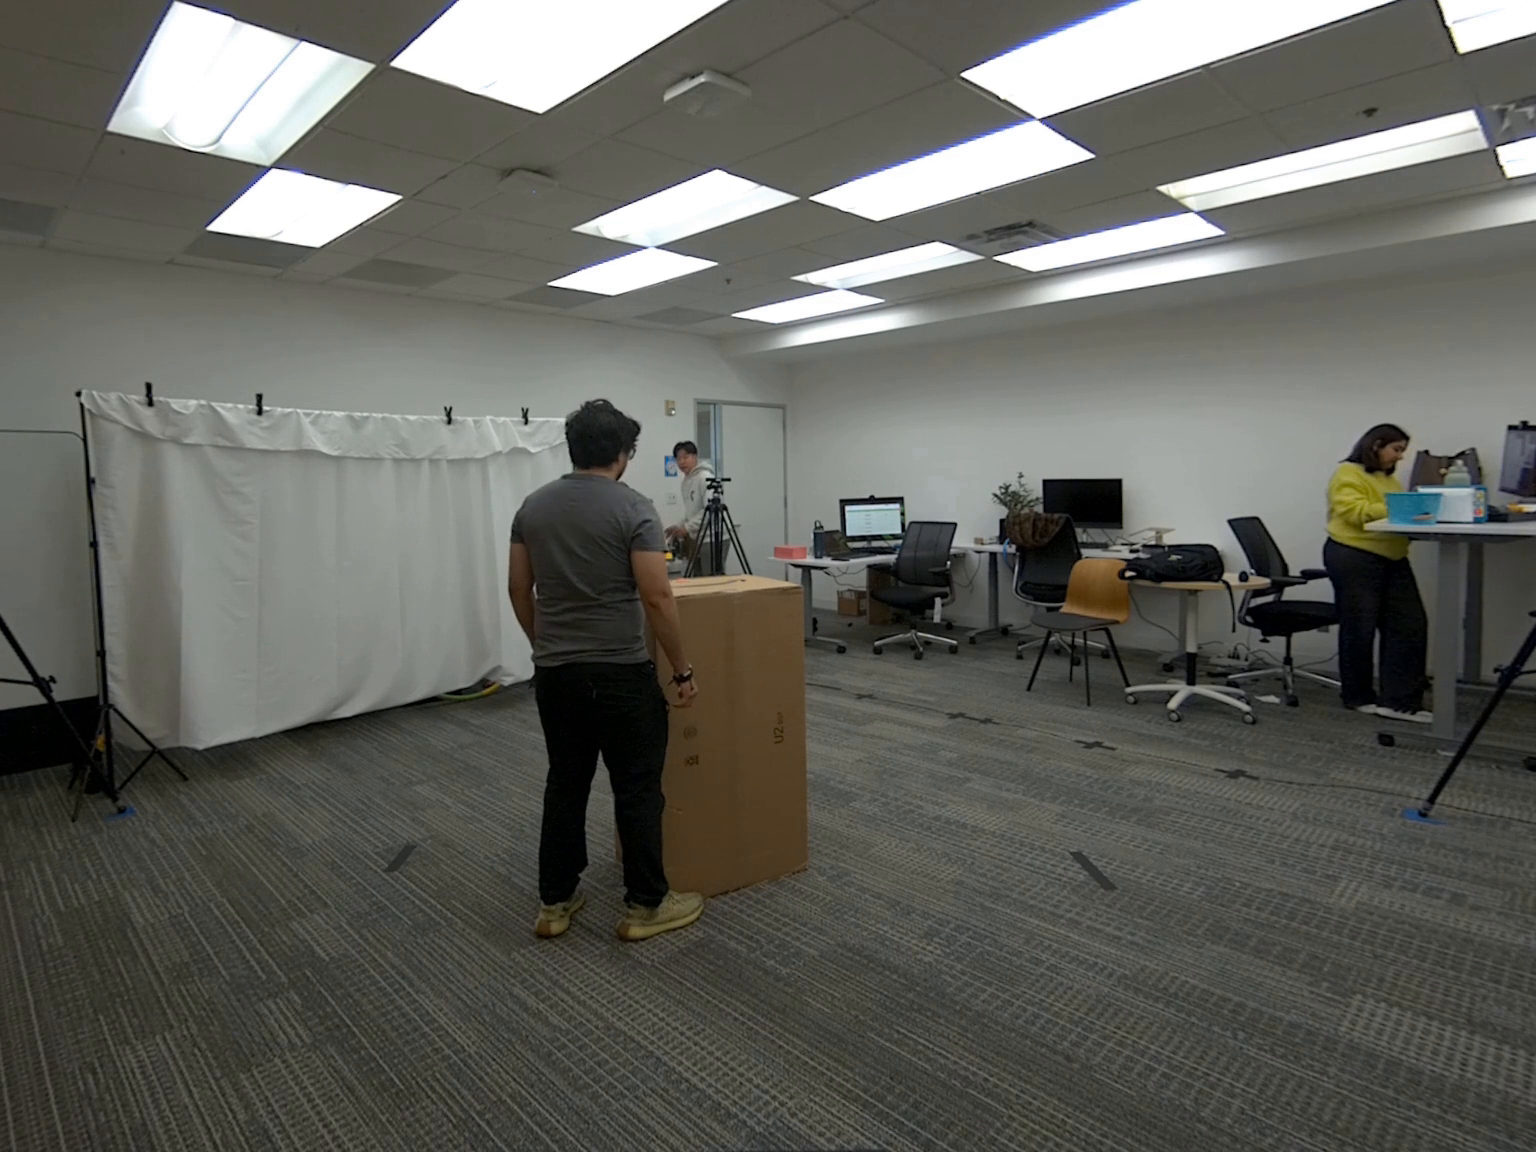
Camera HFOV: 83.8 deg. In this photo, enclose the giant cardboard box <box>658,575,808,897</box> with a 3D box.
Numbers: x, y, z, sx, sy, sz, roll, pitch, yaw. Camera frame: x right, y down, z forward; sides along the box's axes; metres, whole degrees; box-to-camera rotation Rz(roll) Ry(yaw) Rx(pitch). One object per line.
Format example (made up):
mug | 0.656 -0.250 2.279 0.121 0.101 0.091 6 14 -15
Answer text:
giant cardboard box | -0.214 0.542 3.065 0.570 1.023 0.459 -3 6 -31
